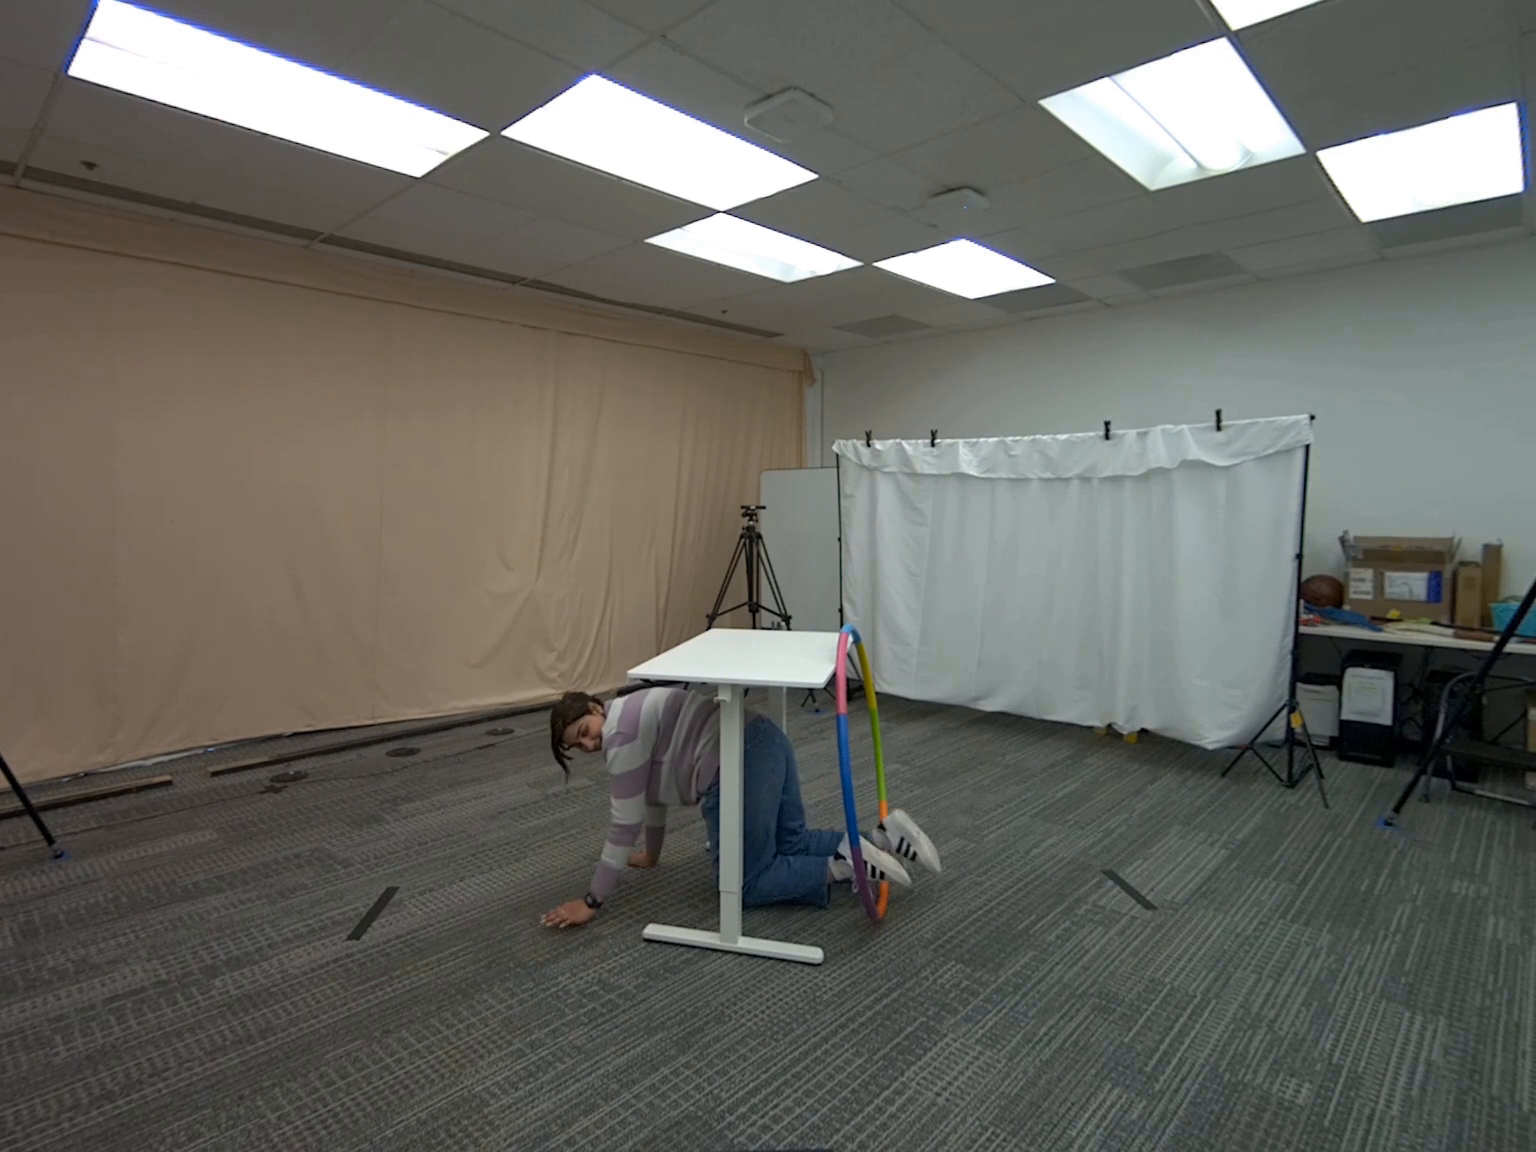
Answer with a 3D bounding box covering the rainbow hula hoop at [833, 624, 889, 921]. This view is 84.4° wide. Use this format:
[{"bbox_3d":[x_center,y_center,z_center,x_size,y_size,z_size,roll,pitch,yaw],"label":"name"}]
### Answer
[{"bbox_3d":[0.344,0.667,2.921,0.036,0.978,0.966,-7,2,12],"label":"rainbow hula hoop"}]
